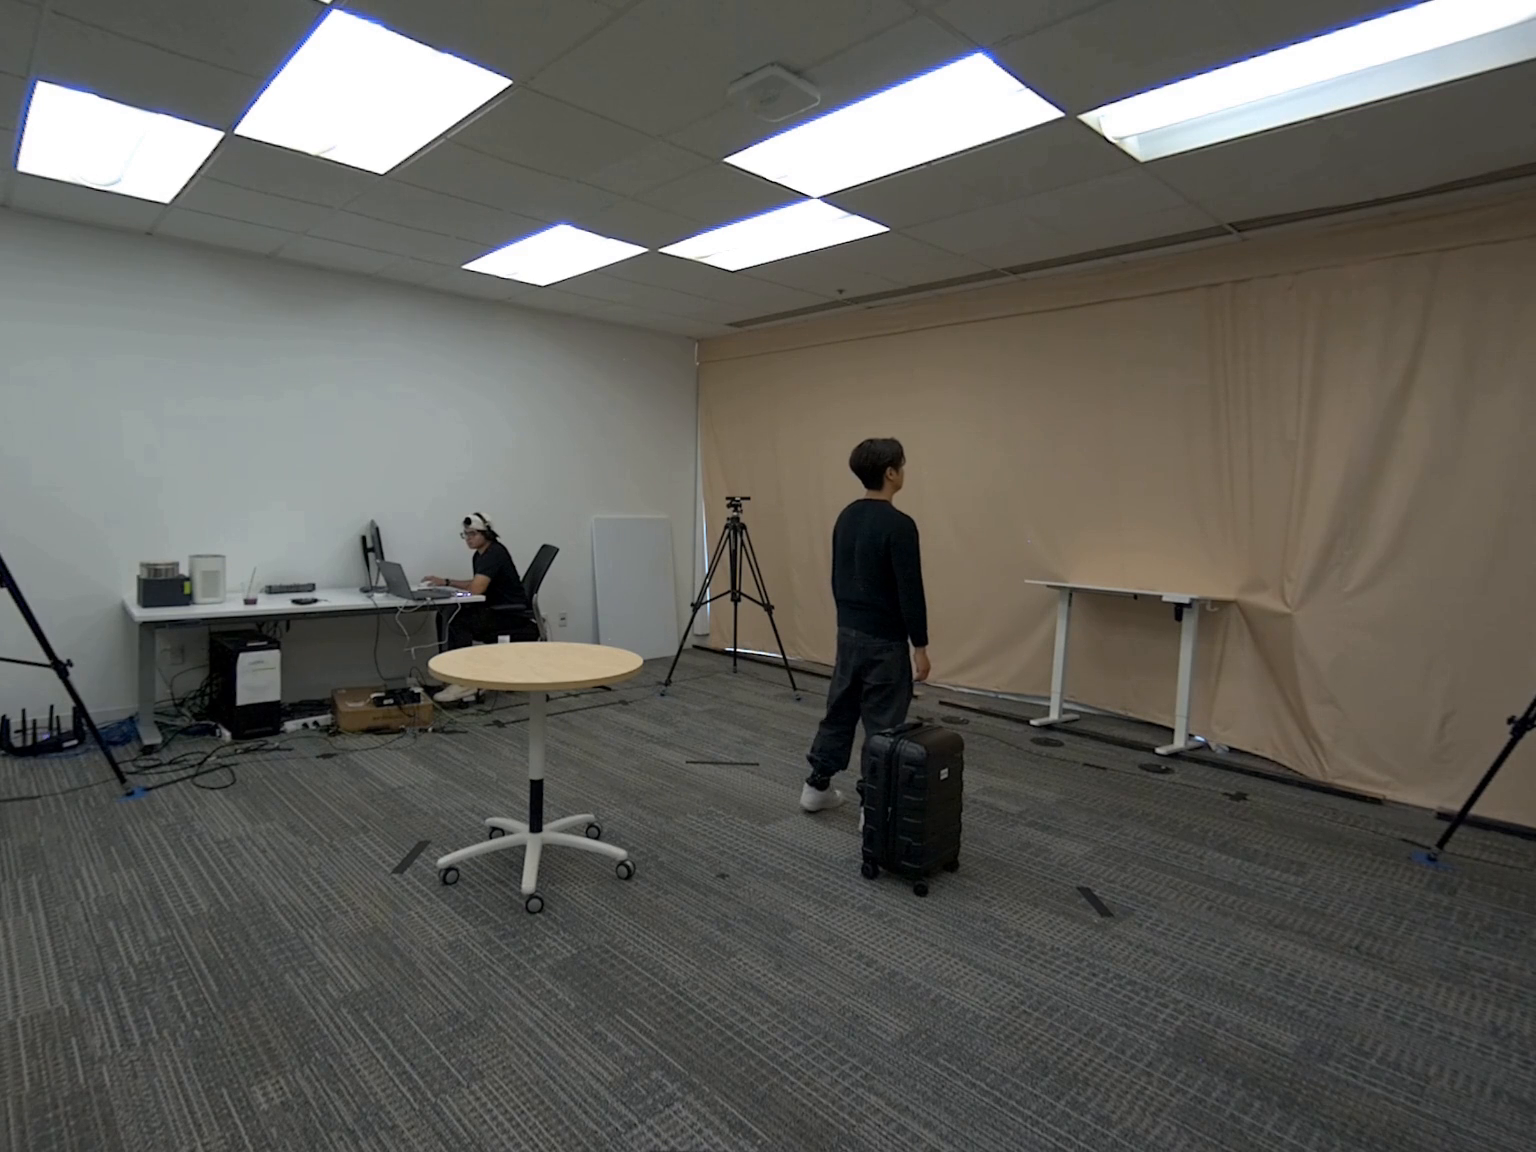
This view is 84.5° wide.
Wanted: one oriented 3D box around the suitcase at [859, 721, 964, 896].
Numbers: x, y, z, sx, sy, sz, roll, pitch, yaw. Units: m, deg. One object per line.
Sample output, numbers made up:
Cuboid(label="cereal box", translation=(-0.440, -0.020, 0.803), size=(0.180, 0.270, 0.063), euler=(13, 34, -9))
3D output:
Cuboid(label="suitcase", translation=(0.550, 0.848, 3.164), size=(0.254, 0.548, 0.367), euler=(5, 3, 39))
